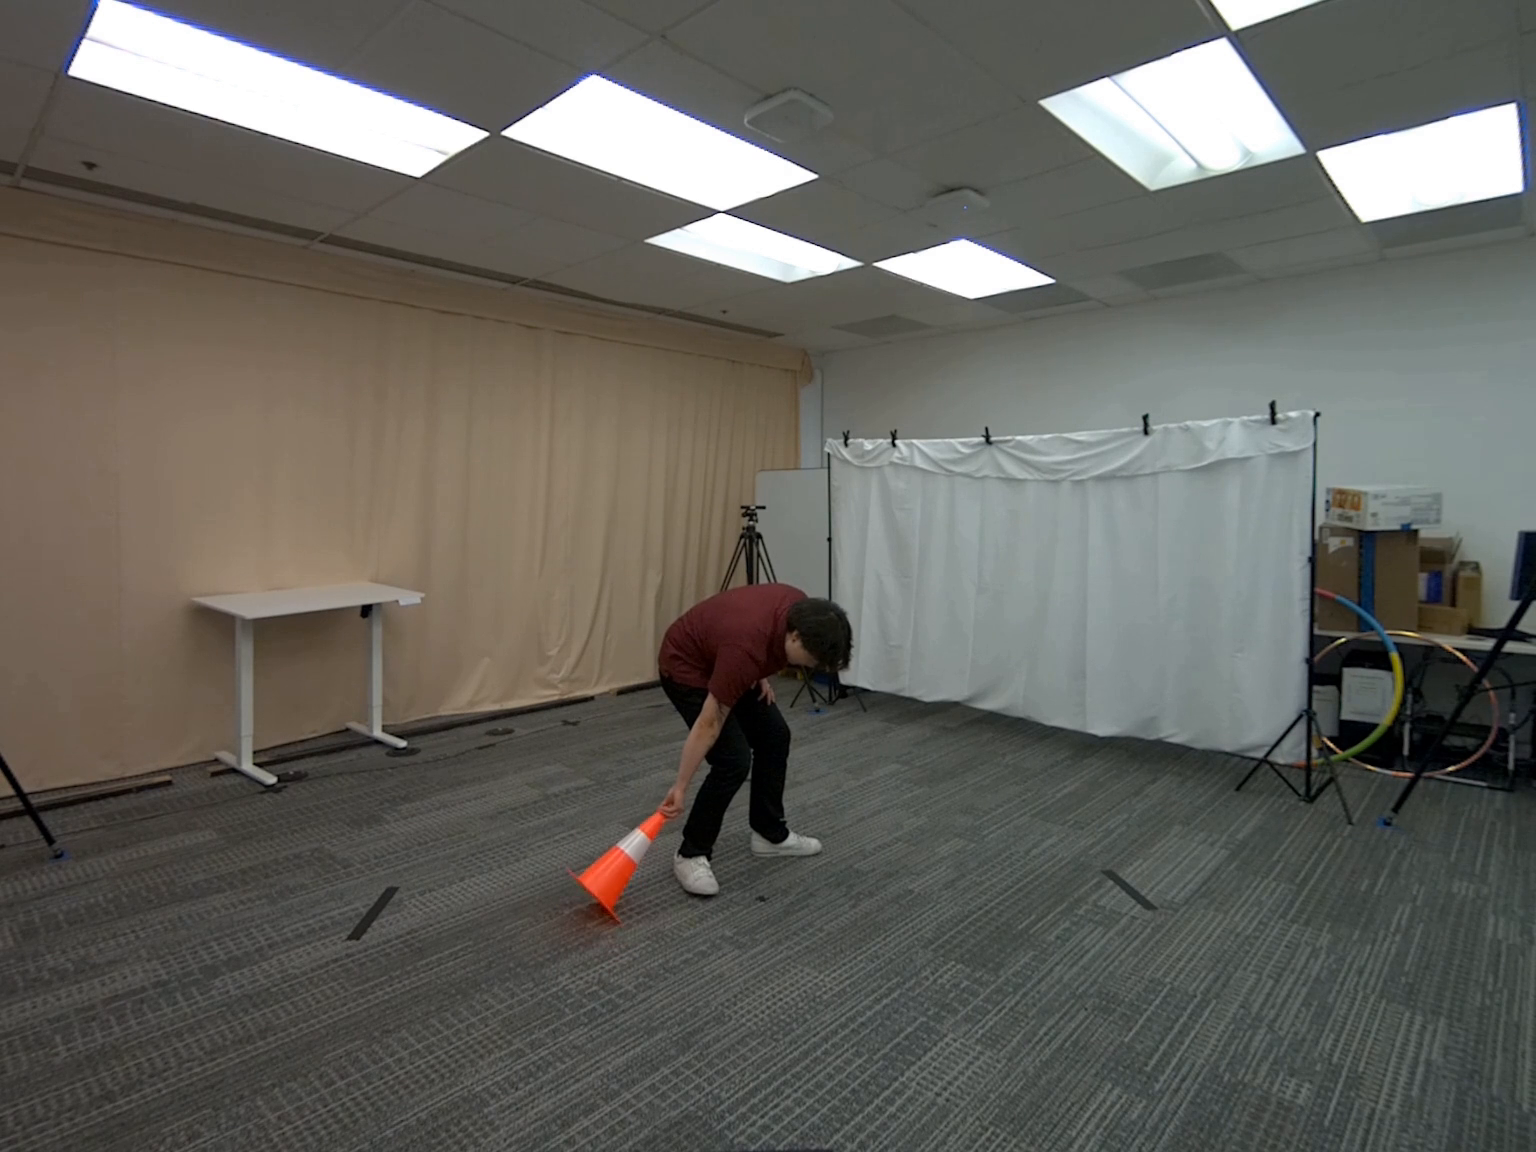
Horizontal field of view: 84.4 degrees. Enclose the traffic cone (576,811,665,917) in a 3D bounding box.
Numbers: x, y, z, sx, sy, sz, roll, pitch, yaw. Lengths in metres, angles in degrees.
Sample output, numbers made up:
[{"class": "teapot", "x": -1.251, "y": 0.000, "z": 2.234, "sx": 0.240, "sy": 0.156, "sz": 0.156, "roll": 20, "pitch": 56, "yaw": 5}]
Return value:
[{"class": "traffic cone", "x": -0.481, "y": 0.962, "z": 2.936, "sx": 0.381, "sy": 0.199, "sz": 0.211, "roll": -46, "pitch": 25, "yaw": -25}]
